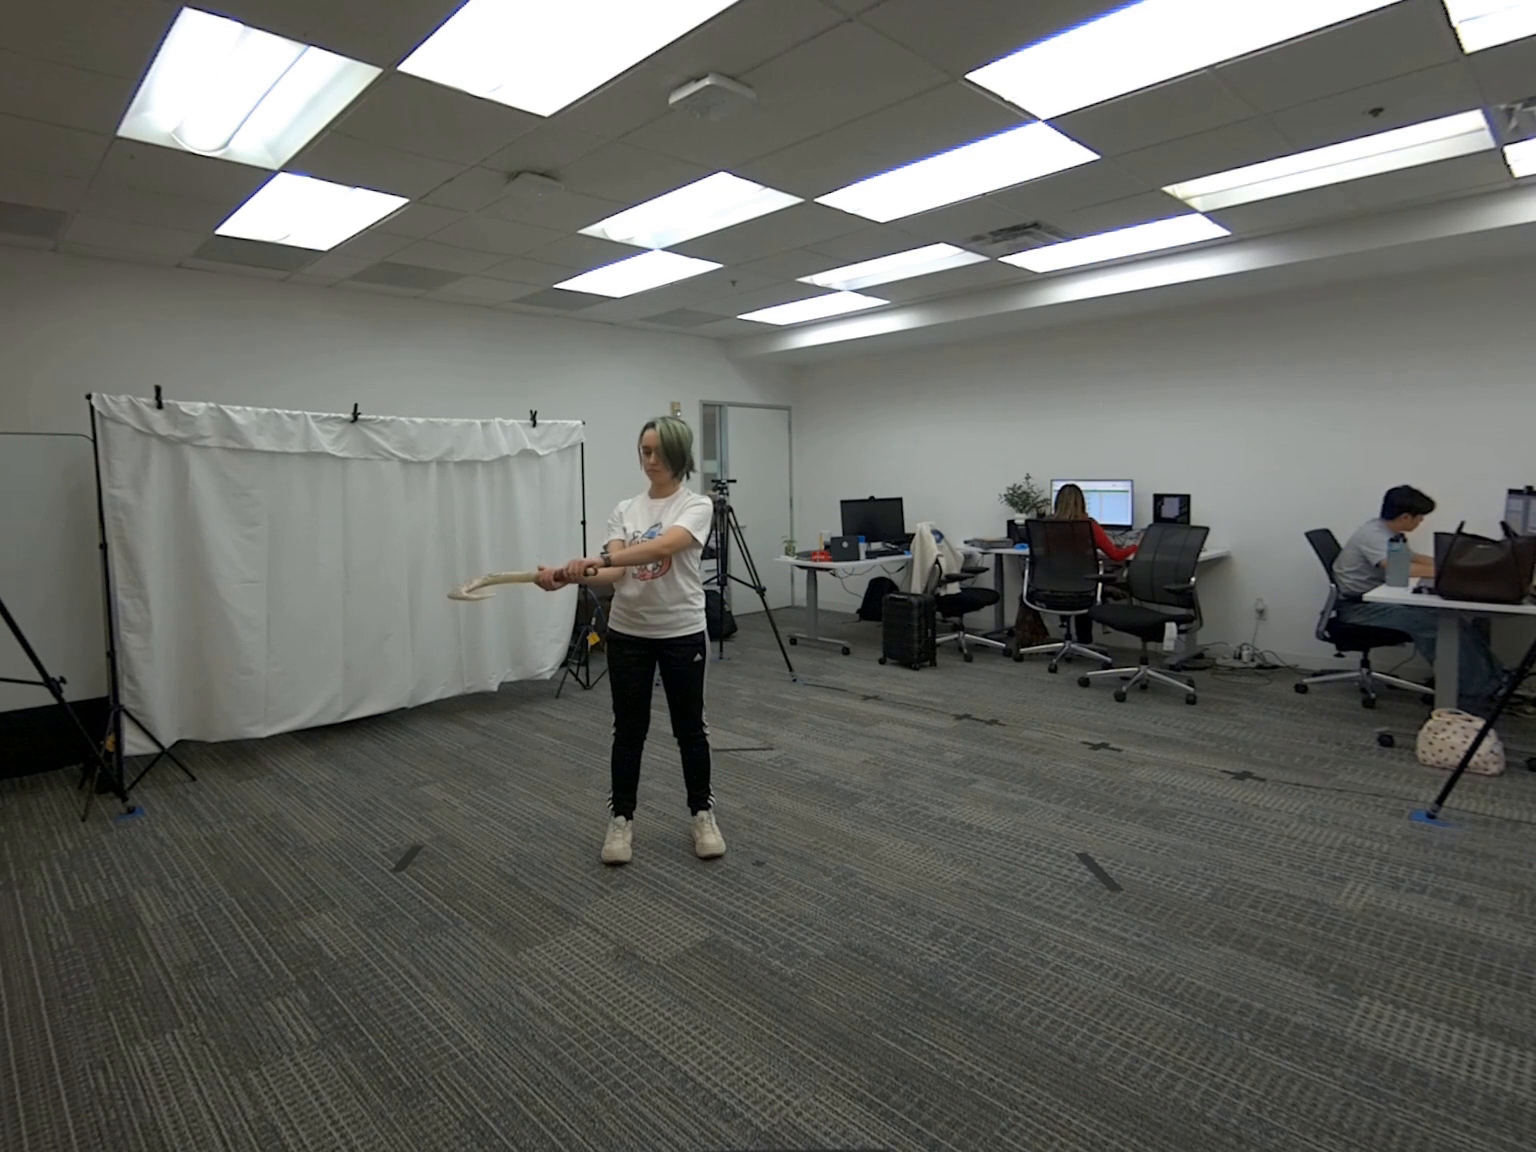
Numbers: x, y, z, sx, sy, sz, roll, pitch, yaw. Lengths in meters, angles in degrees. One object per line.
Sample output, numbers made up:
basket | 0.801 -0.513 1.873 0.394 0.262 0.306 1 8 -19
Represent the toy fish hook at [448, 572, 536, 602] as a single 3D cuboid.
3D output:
toy fish hook | -0.806 0.022 2.822 0.511 0.047 0.227 -6 20 11
